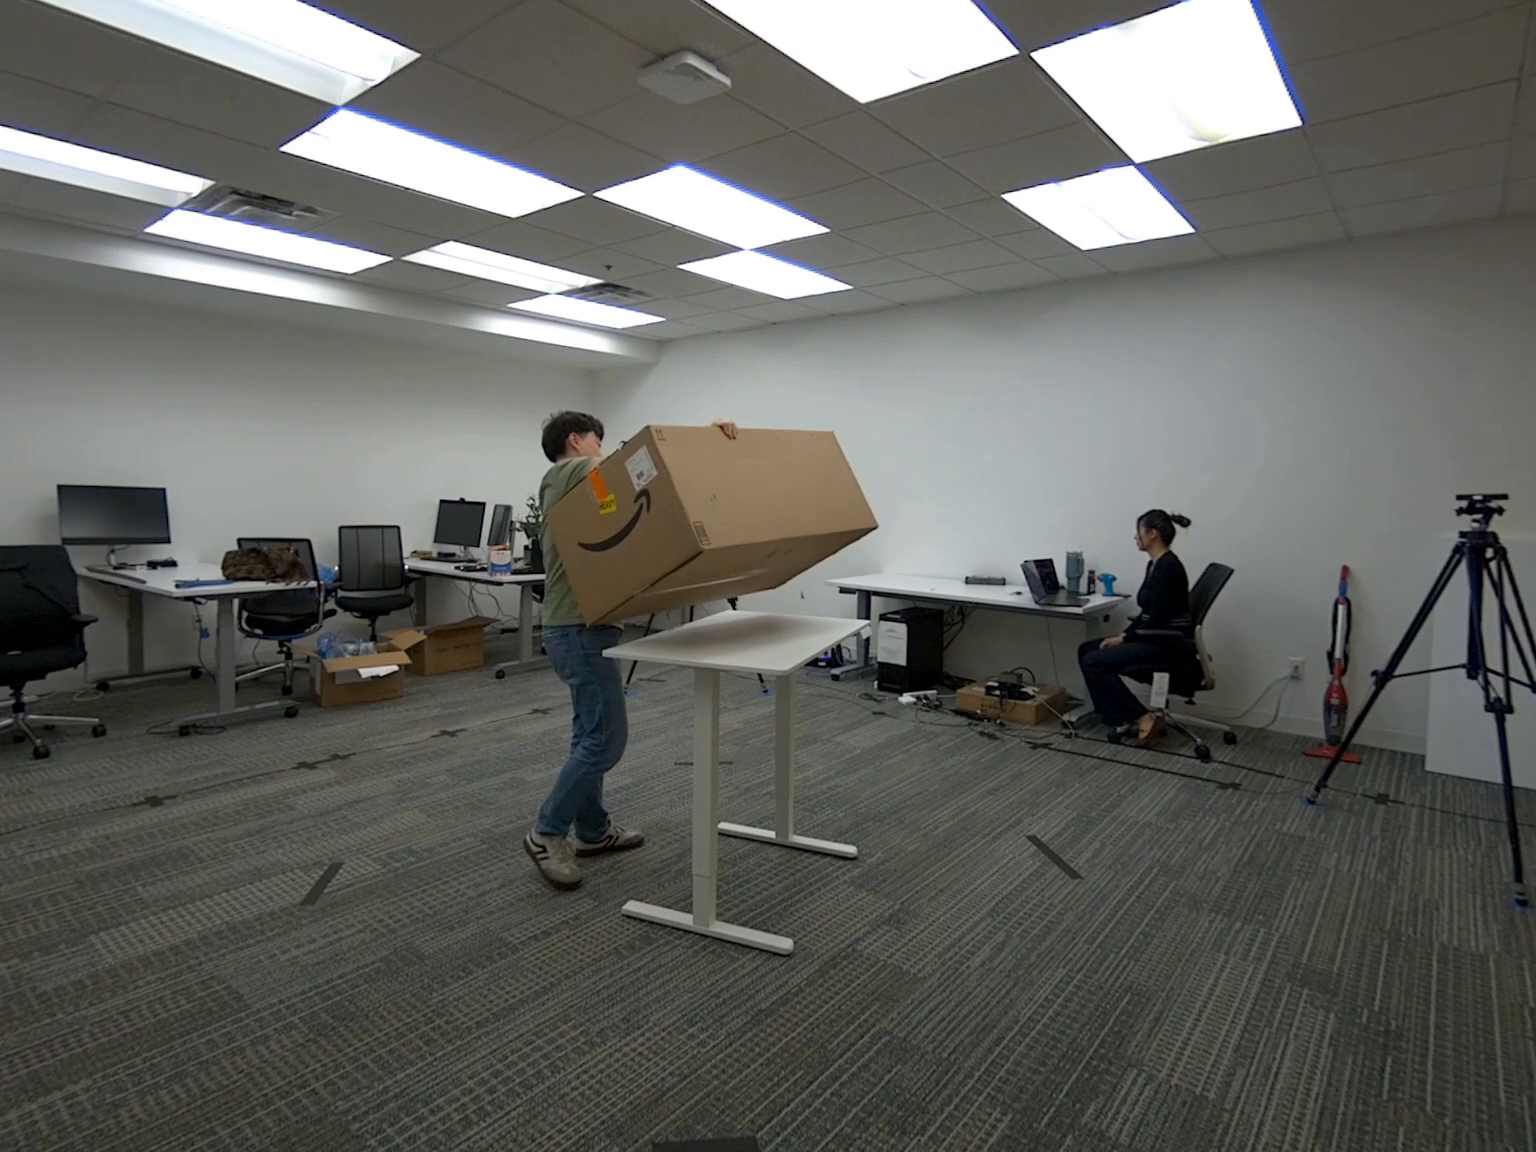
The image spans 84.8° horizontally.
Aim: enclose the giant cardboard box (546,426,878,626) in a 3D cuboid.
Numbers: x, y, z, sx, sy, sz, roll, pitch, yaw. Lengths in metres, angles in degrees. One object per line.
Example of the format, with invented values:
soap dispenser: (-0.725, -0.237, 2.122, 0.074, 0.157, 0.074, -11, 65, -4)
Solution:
giant cardboard box: (-0.180, -0.202, 3.020, 0.583, 0.434, 0.998, -33, -14, 36)
